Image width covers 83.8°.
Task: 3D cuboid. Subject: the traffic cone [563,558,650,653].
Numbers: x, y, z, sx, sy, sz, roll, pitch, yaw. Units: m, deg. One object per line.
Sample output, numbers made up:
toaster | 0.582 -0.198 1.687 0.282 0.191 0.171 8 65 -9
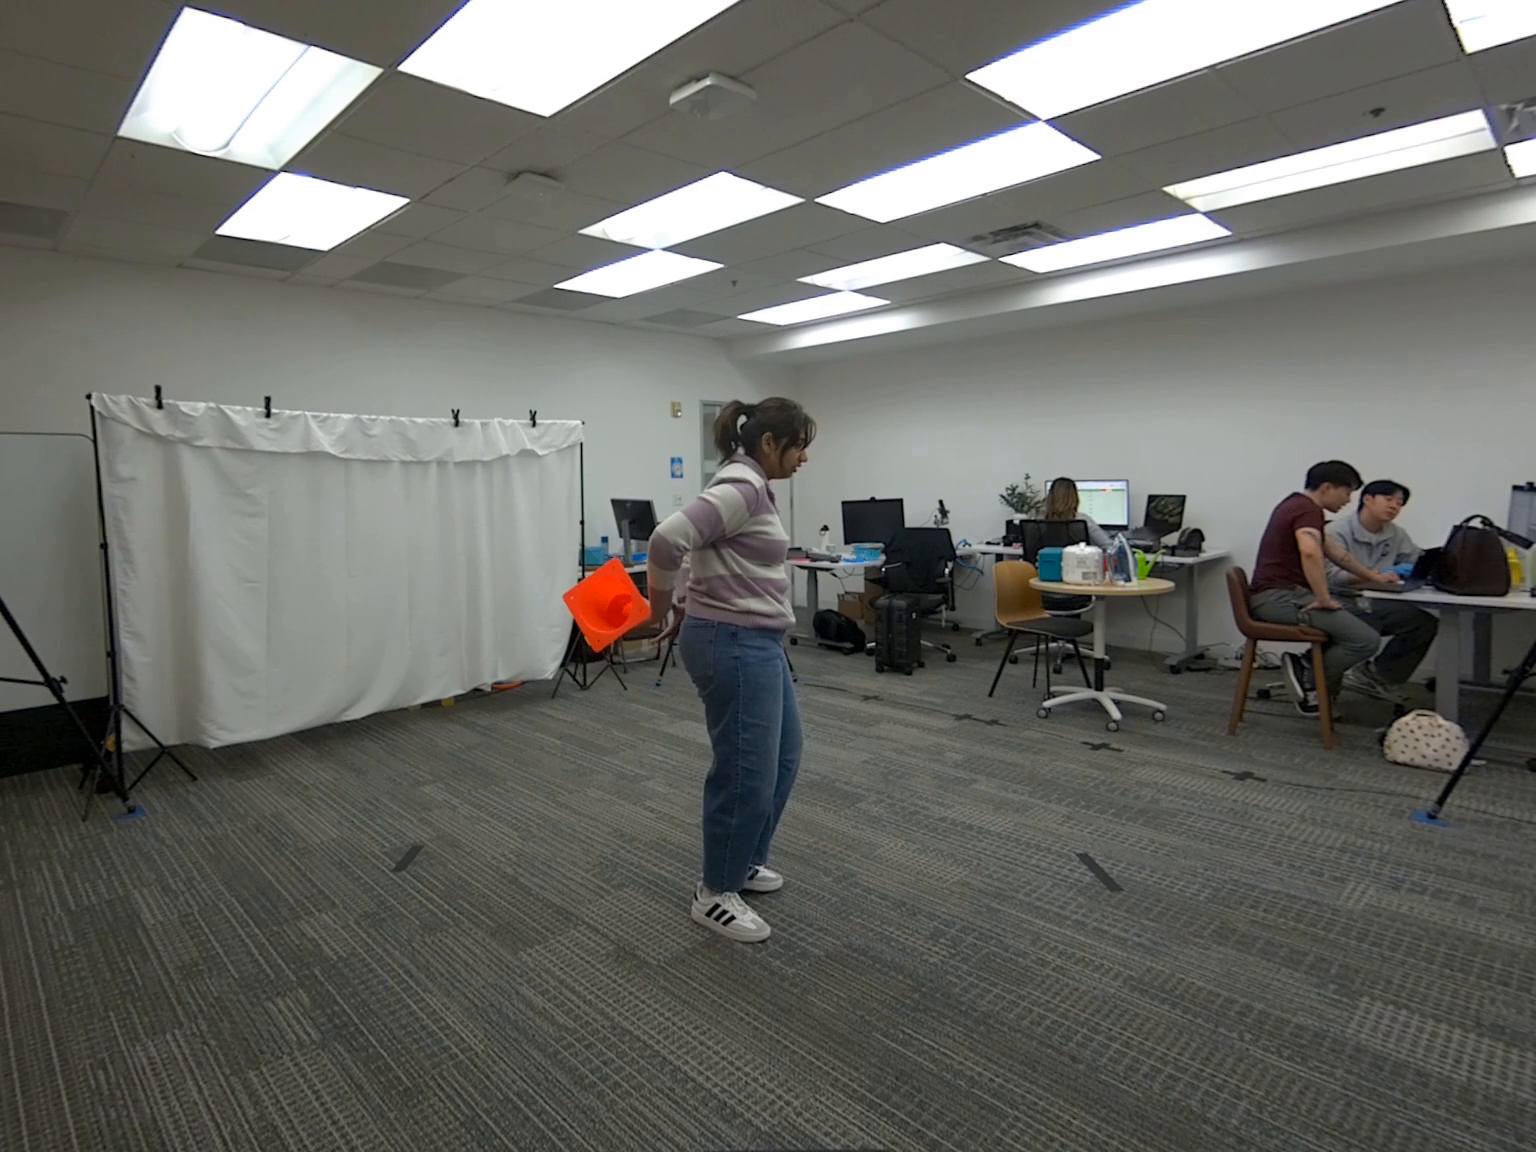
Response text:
traffic cone | -0.431 0.096 2.593 0.203 0.208 0.378 -37 -9 3
